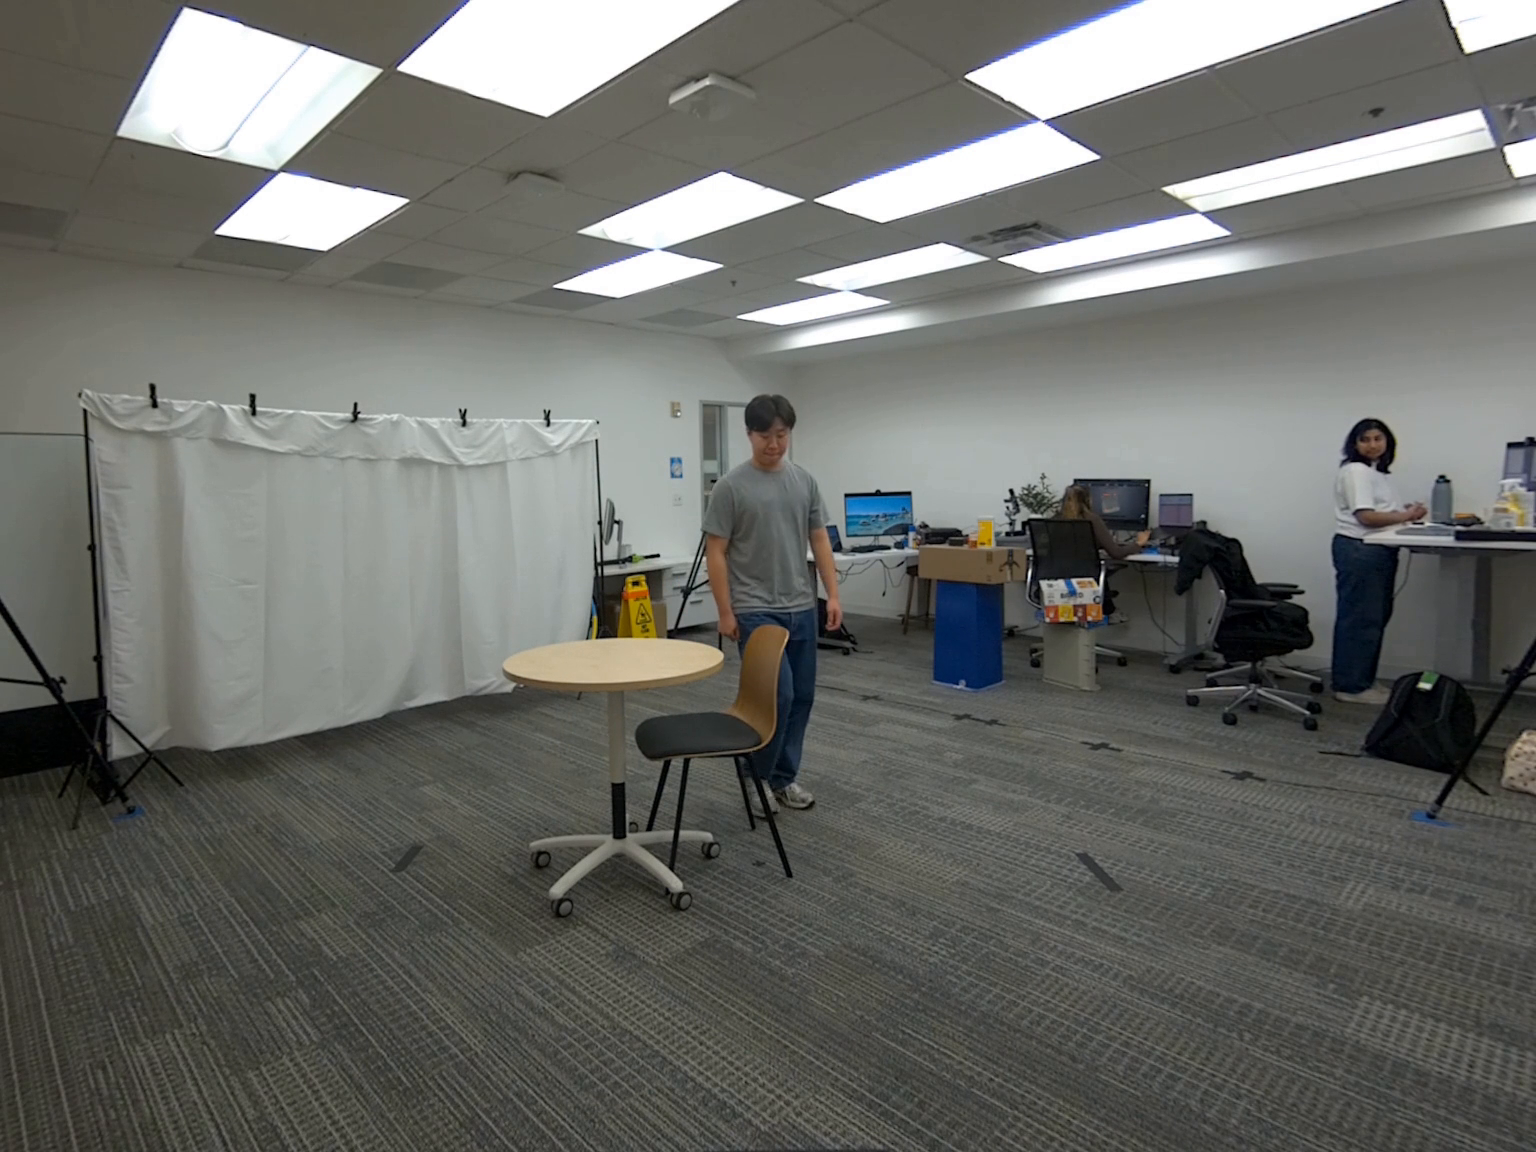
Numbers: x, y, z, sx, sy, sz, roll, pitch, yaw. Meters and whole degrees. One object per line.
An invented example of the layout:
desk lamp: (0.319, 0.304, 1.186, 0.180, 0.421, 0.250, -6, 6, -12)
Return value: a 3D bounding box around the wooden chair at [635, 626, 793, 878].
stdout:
wooden chair: (-0.206, 0.621, 3.113, 0.514, 0.875, 0.487, 2, 3, -18)
